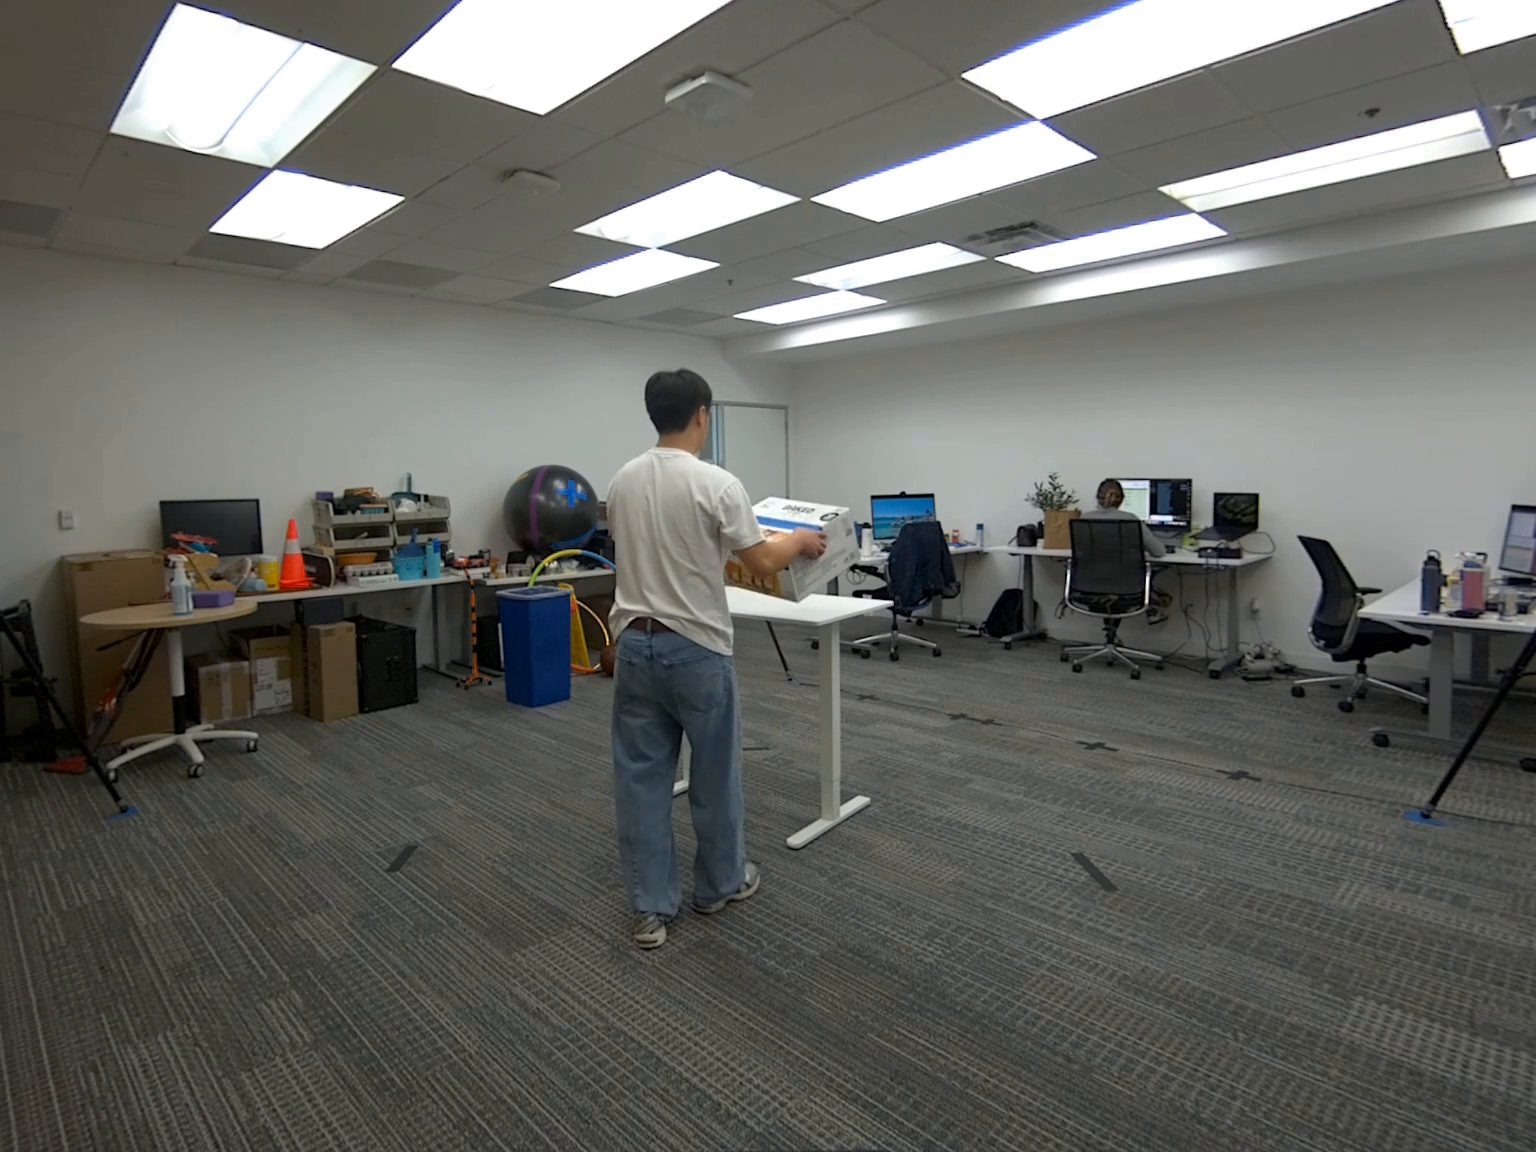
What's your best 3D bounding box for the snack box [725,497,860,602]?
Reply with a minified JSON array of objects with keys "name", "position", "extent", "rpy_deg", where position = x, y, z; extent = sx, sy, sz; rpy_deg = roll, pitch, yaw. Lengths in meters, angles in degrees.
[{"name":"snack box","position":[0.060,-0.089,3.058],"extent":[0.337,0.201,0.419],"rpy_deg":[-32,30,-34]}]
